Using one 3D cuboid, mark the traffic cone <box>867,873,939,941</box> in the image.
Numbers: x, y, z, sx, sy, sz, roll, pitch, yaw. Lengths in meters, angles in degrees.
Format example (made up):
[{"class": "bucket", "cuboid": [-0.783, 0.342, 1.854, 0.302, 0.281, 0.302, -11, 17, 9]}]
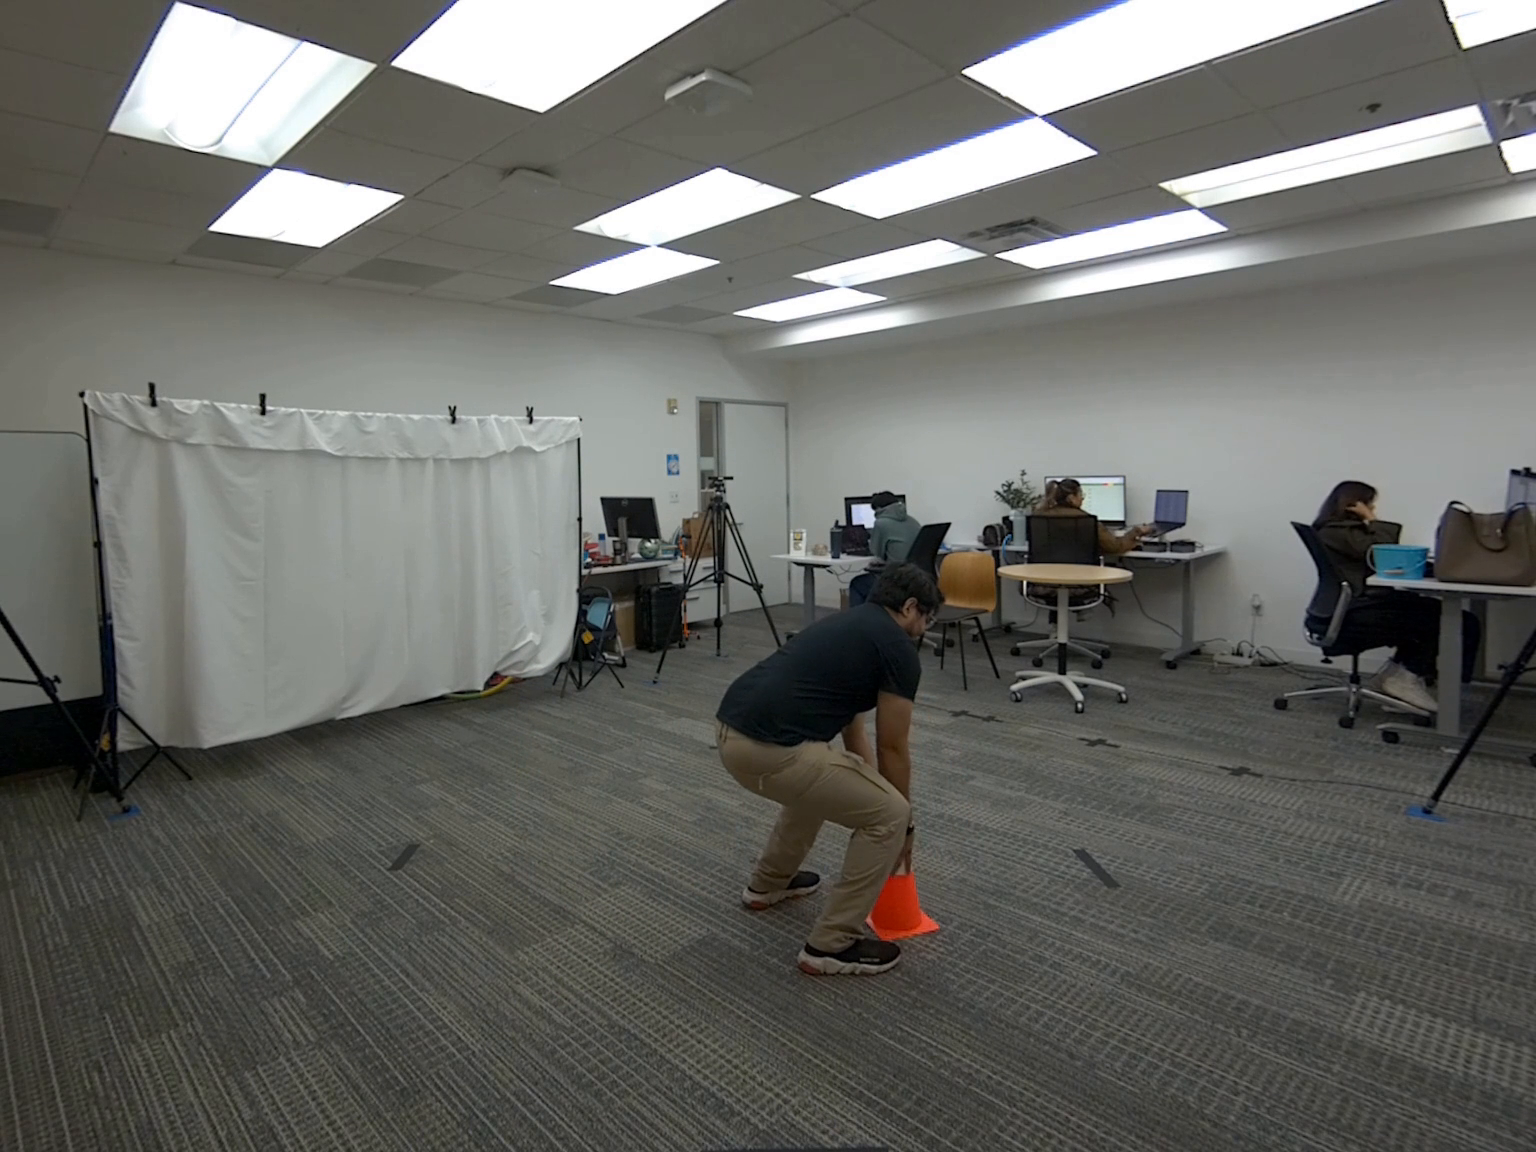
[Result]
[{"class": "traffic cone", "cuboid": [0.404, 0.887, 2.679, 0.200, 0.383, 0.208, -3, 2, -17]}]
